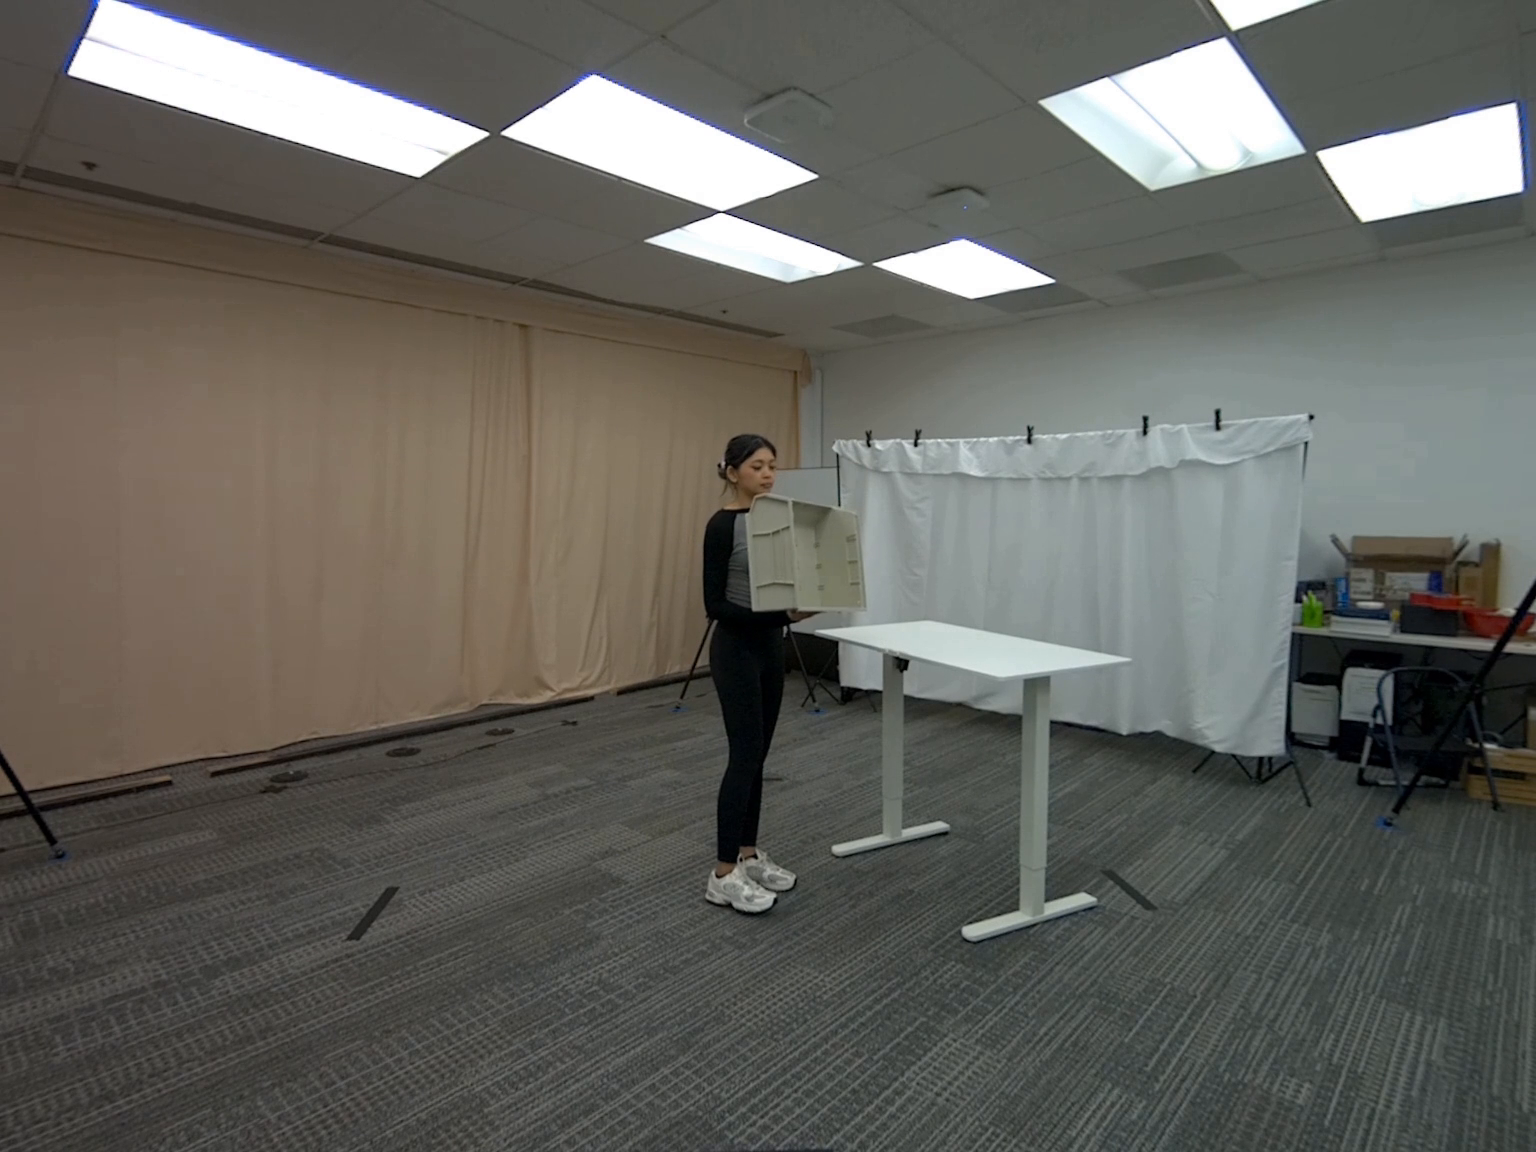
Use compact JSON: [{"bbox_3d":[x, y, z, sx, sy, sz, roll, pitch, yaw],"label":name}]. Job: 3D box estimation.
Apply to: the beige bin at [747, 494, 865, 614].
[{"bbox_3d":[0.132,-0.063,2.767,0.194,0.379,0.409,-8,-7,36],"label":"beige bin"}]
